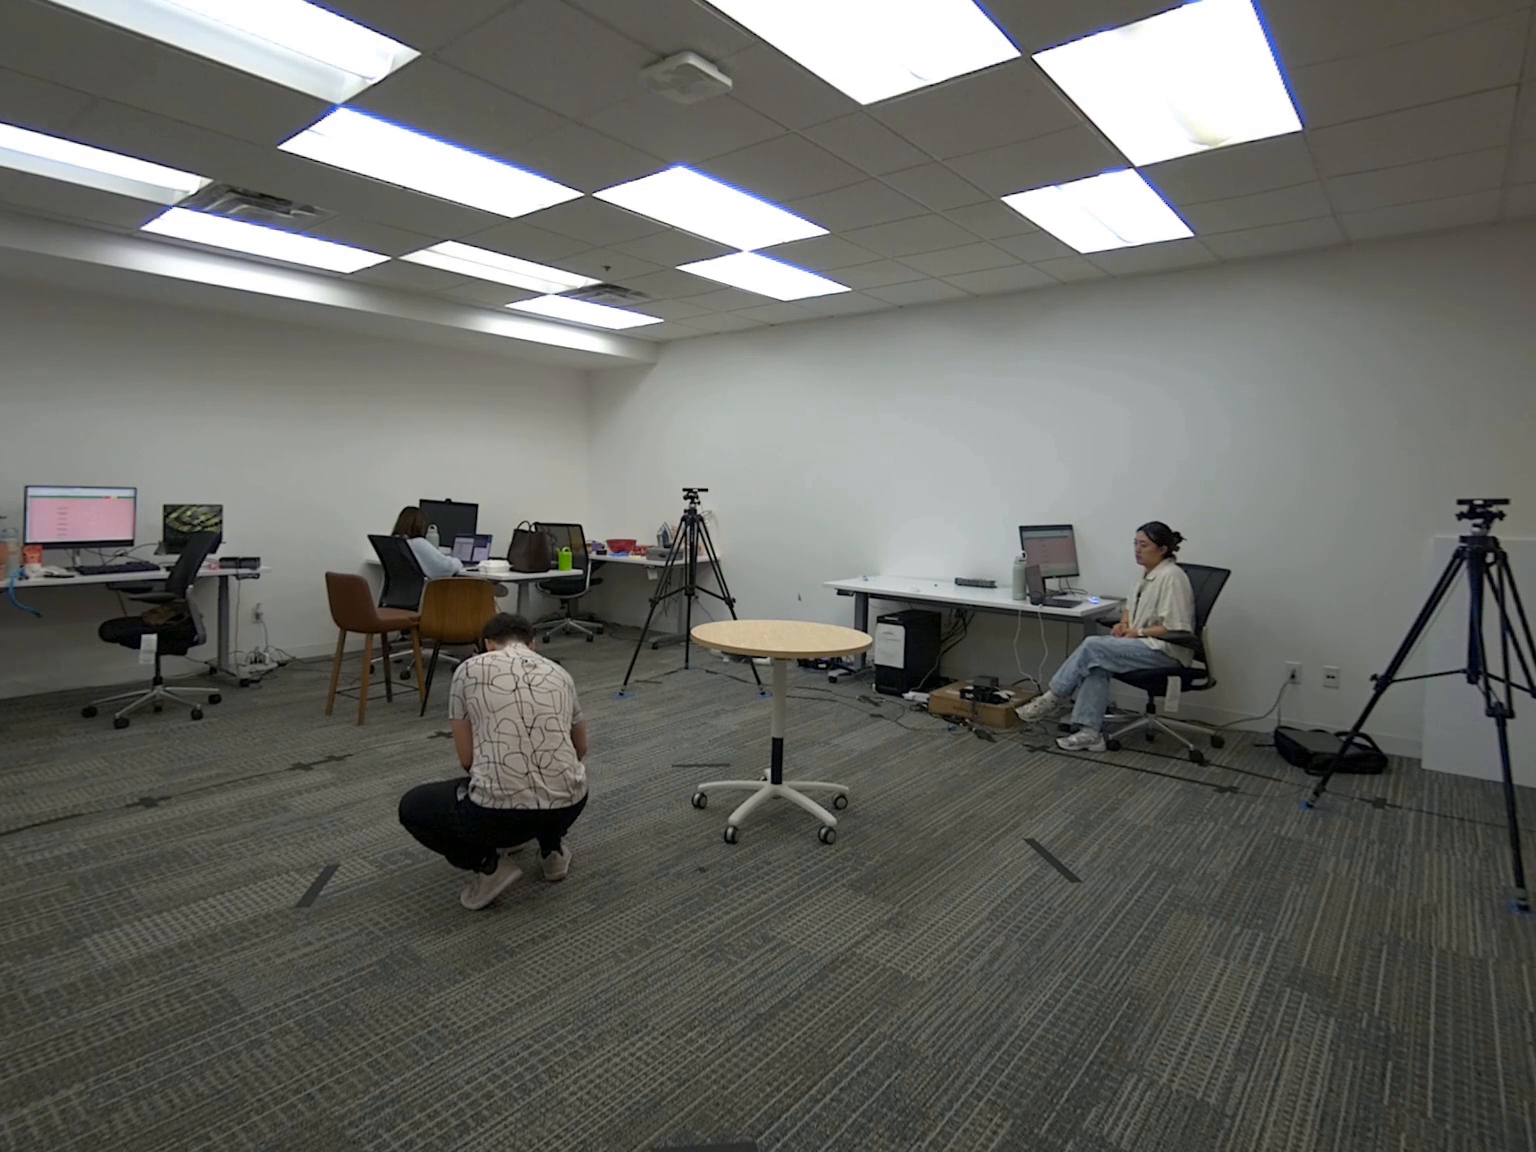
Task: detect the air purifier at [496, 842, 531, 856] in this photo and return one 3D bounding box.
[{"bbox_3d":[-1.024,0.901,3.254,0.166,0.265,0.176,0,2,-35],"label":"air purifier"}]
